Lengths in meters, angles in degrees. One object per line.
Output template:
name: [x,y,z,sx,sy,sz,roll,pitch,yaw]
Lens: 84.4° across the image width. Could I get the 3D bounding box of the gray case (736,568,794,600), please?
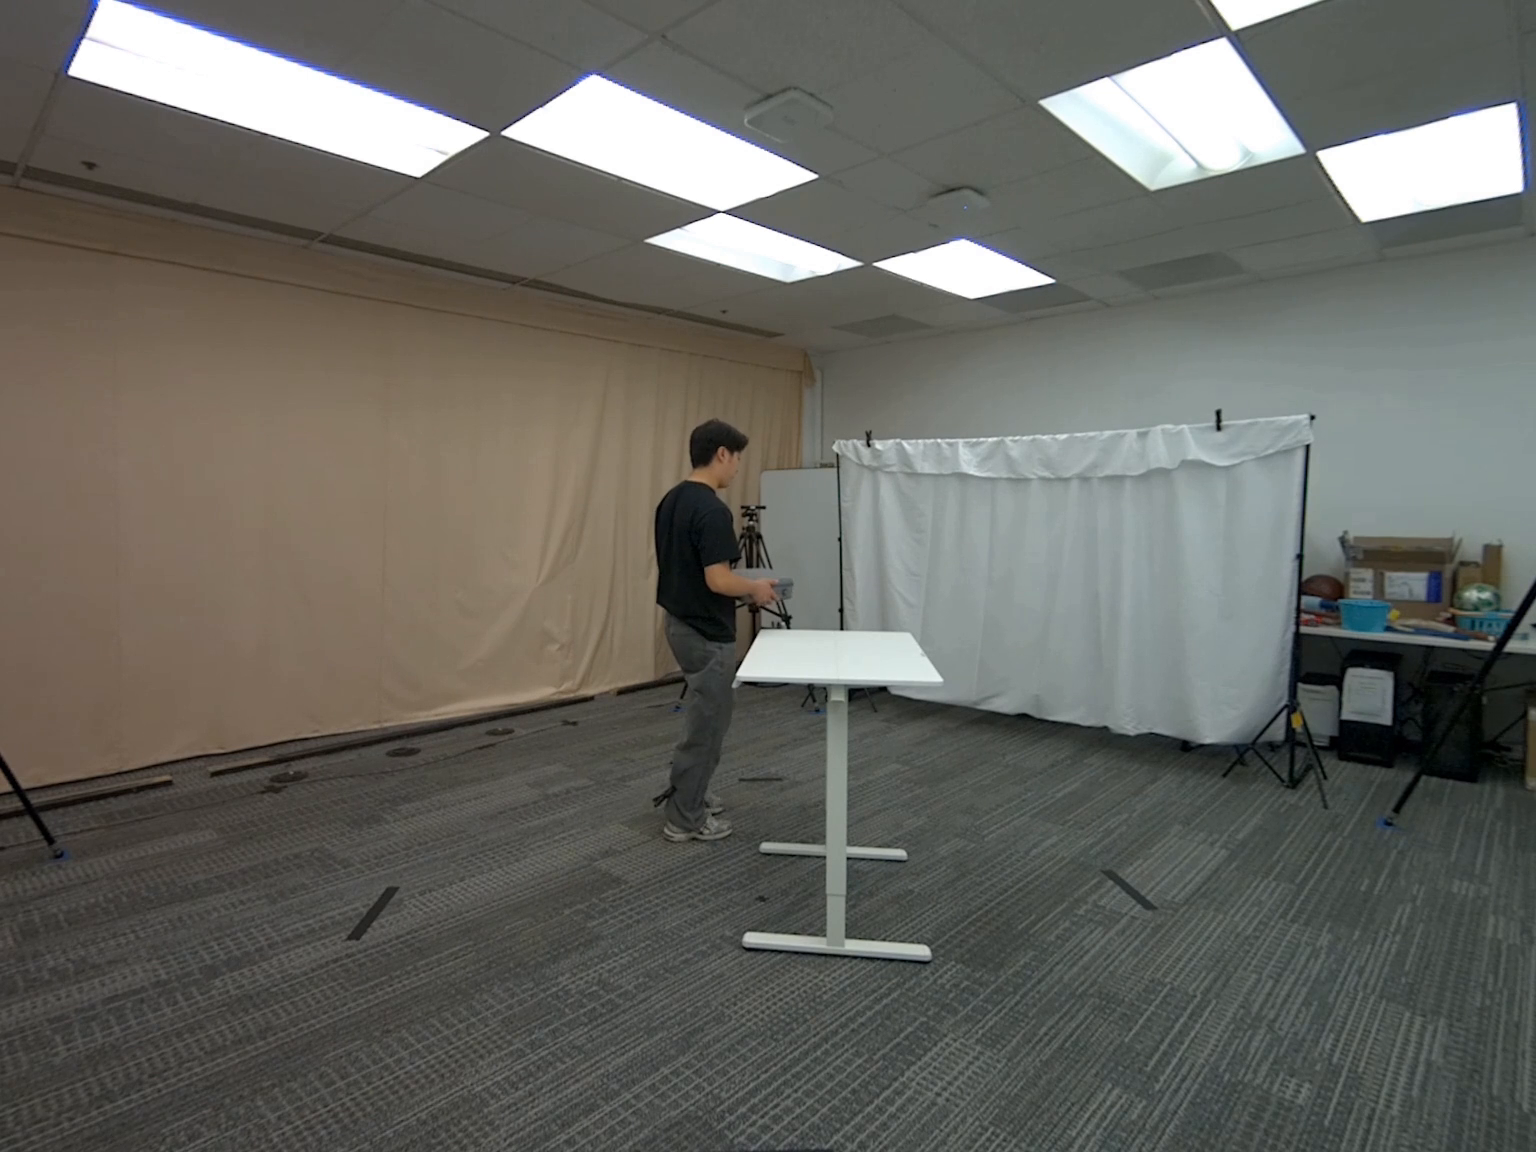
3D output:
gray case: [-0.045,0.040,3.640,0.280,0.102,0.271,-4,12,-28]
